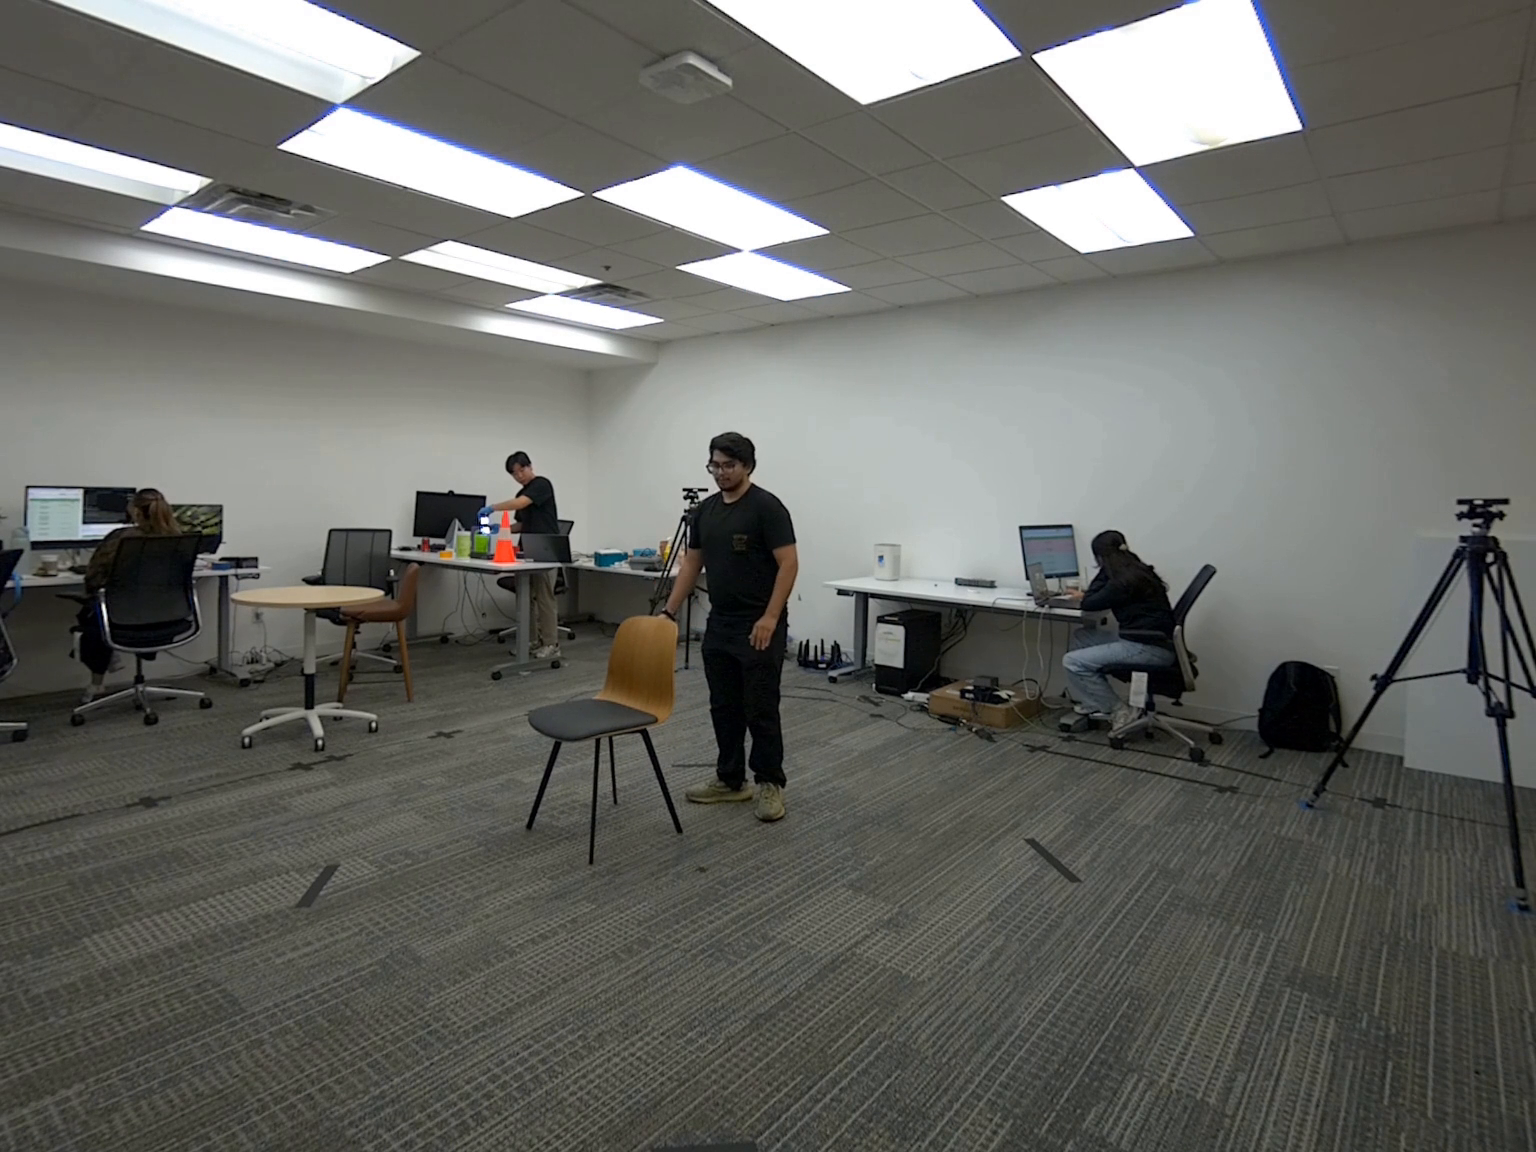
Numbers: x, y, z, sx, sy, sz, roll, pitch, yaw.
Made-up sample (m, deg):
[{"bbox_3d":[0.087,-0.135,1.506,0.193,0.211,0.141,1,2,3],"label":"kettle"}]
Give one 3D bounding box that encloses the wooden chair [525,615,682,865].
[{"bbox_3d":[-0.668,0.604,3.408,0.494,0.878,0.505,4,0,44],"label":"wooden chair"}]
